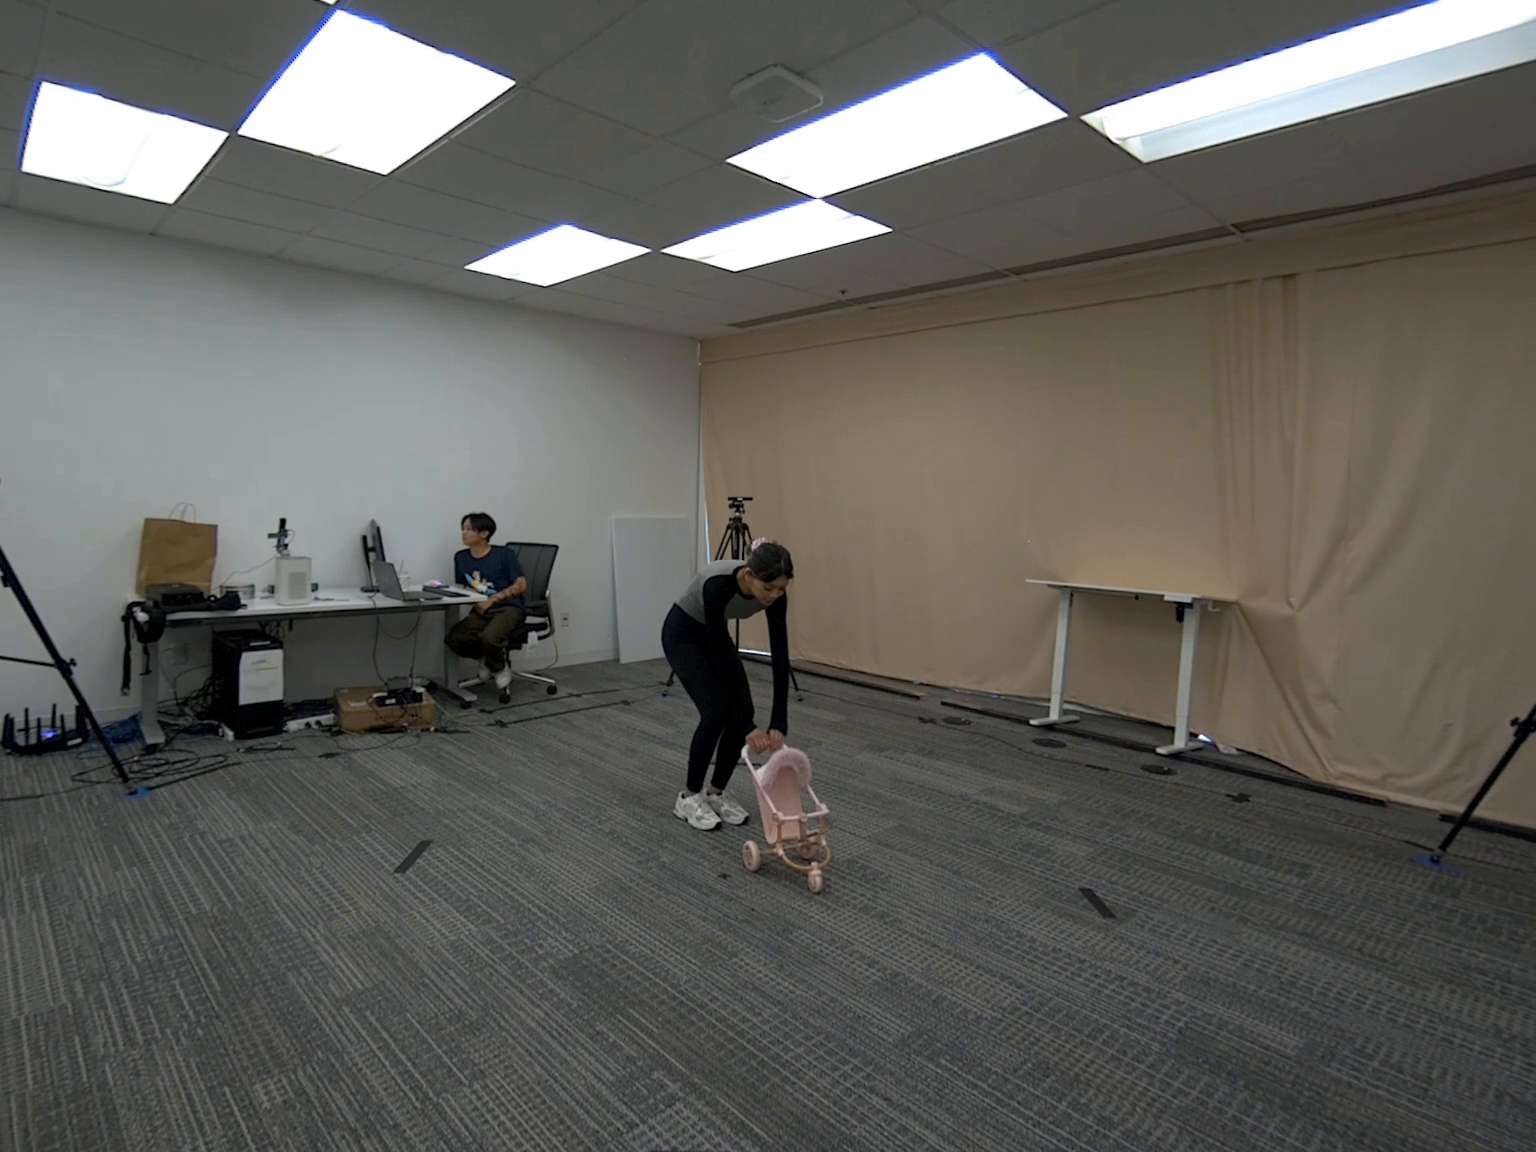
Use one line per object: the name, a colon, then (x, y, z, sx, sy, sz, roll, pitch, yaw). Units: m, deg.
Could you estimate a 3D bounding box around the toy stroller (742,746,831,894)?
toy stroller: (0.072, 0.882, 3.152, 0.276, 0.540, 0.344, 0, -13, -25)
